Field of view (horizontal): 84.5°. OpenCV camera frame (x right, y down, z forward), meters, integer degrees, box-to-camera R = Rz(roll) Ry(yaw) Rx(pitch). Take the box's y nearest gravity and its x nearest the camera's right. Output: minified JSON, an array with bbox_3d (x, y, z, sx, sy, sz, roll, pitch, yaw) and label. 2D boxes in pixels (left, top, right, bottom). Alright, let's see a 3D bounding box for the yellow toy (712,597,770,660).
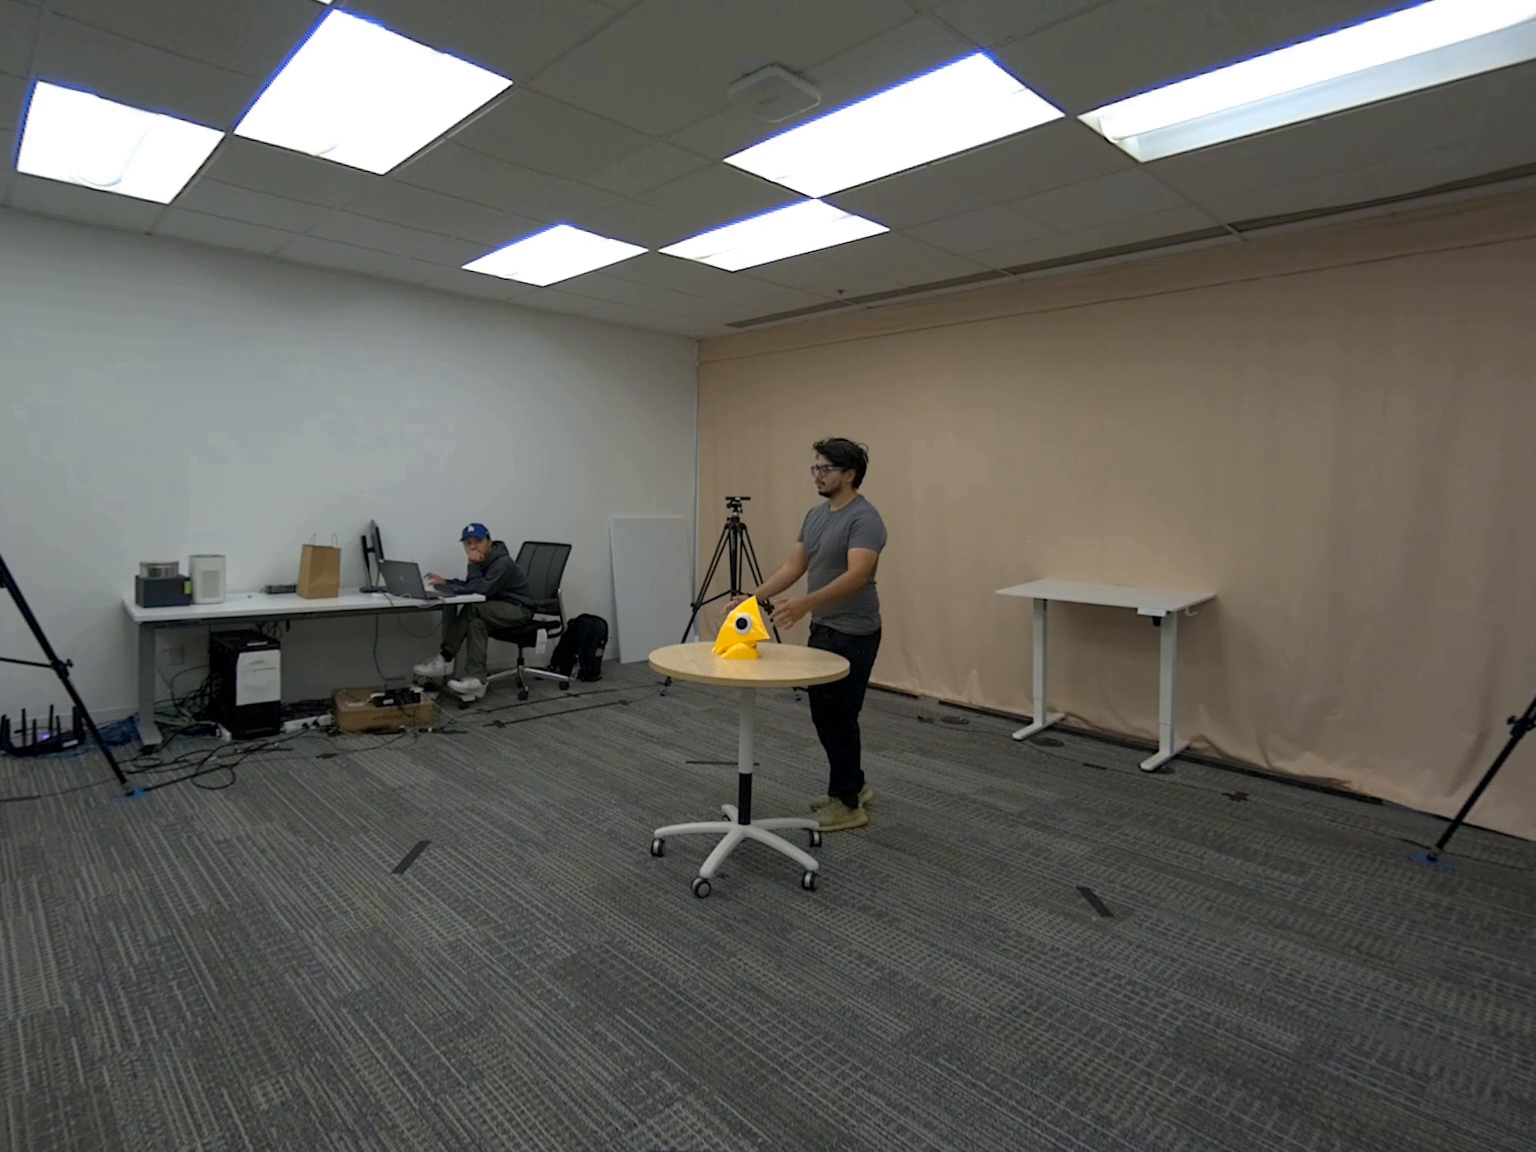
[{"bbox_3d":[-0.122,0.195,3.280,0.190,0.230,0.208,1,4,-19],"label":"yellow toy"}]
